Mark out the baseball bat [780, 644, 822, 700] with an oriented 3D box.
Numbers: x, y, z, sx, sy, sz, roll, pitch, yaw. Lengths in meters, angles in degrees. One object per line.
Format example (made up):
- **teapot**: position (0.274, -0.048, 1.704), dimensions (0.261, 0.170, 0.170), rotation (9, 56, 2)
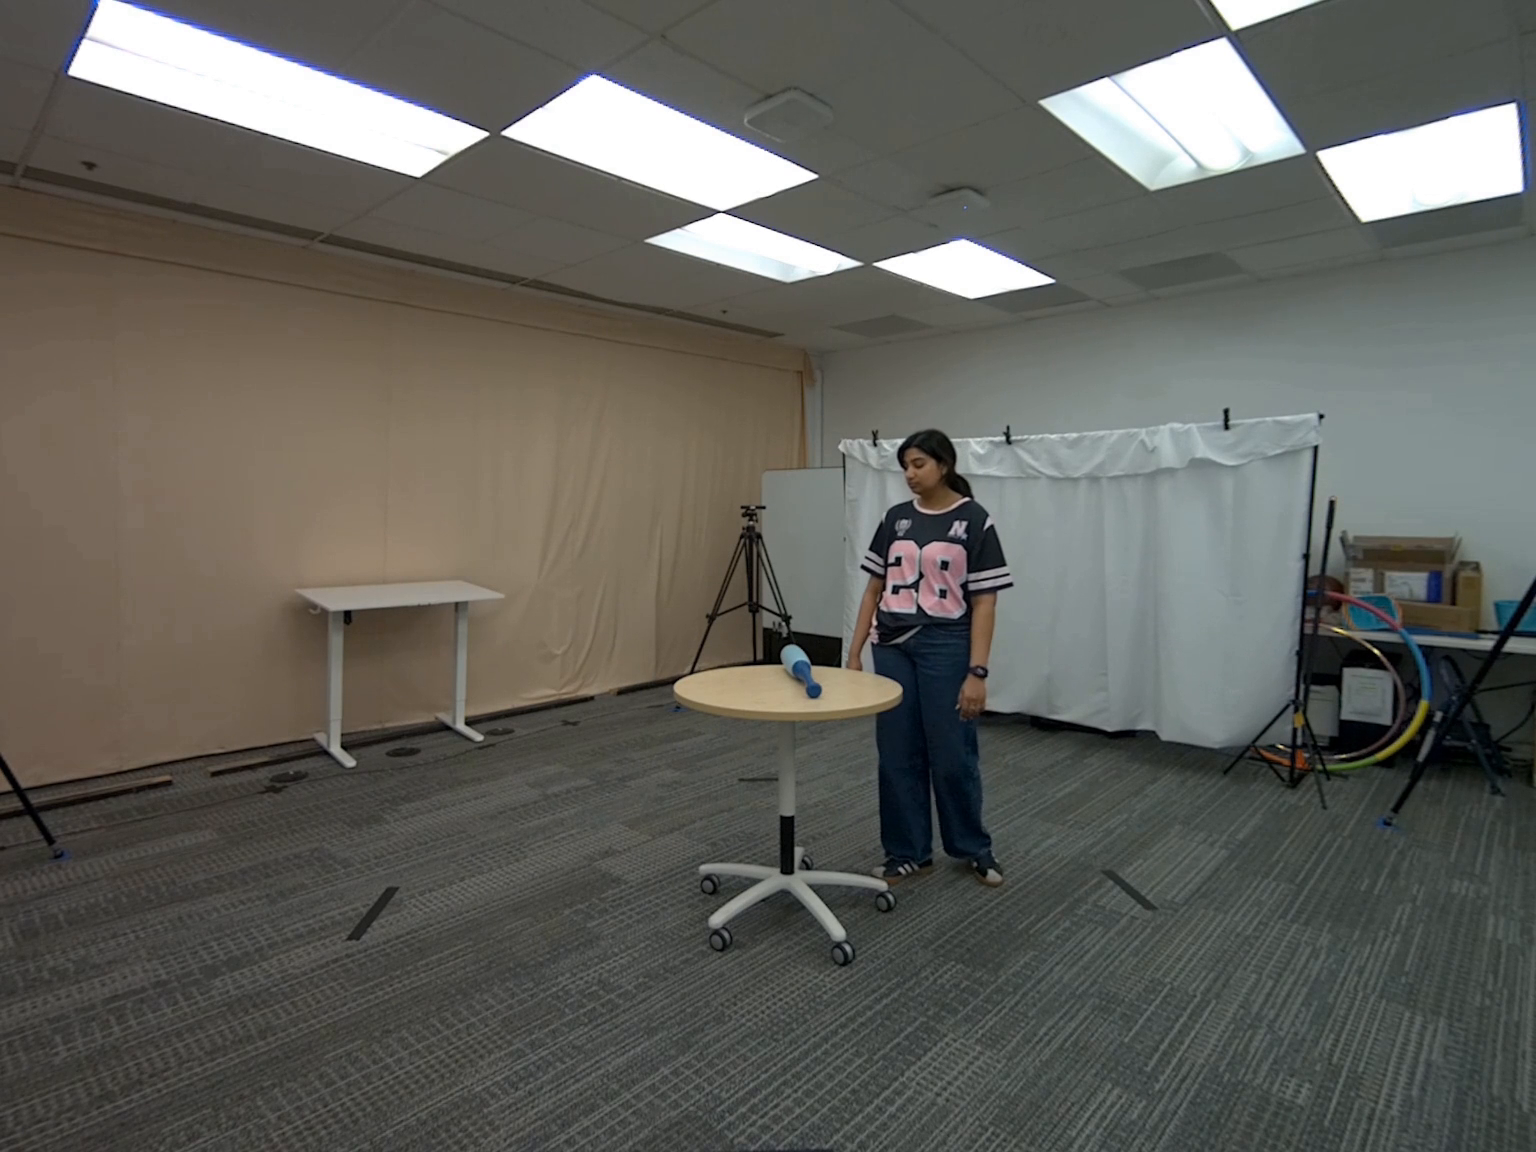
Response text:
- **baseball bat**: position (0.121, 0.330, 2.900), dimensions (0.088, 0.089, 0.549), rotation (-1, 6, -8)
